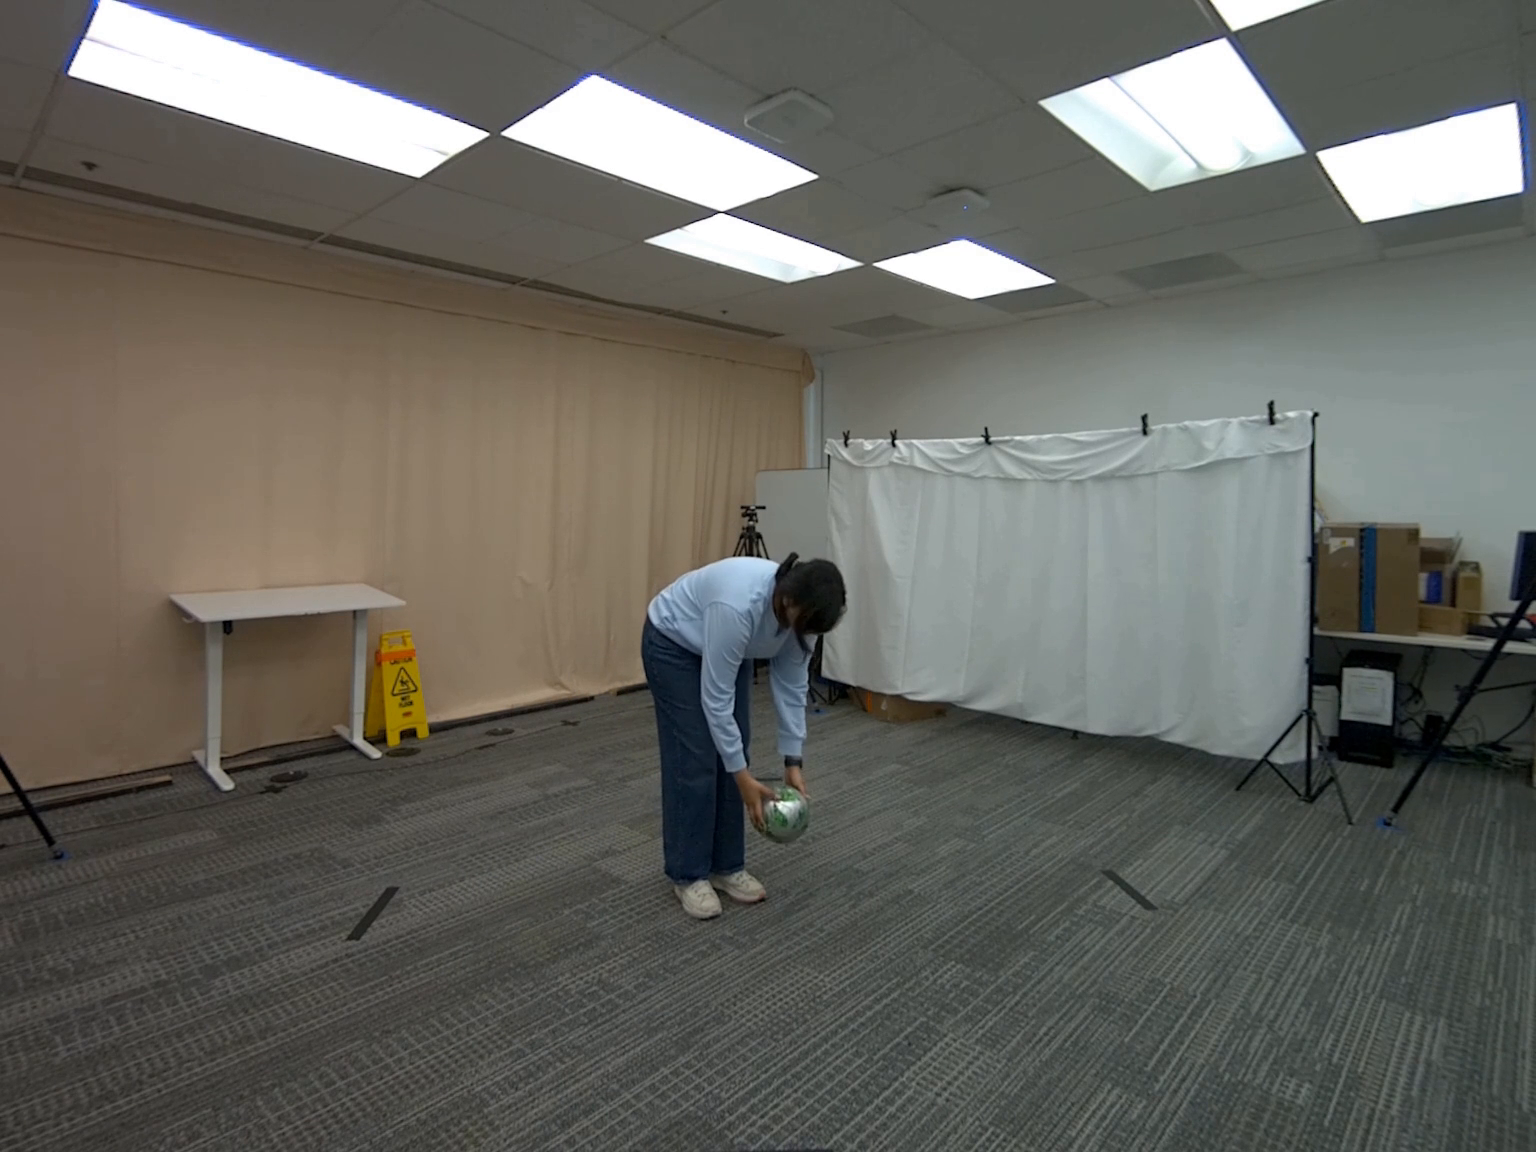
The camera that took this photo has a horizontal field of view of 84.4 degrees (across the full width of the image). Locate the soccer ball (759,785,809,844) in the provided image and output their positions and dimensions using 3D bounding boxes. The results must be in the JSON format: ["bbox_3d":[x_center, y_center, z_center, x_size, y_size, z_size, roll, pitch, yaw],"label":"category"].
[{"bbox_3d":[0.053,0.781,2.784,0.187,0.187,0.188,0,4,-2],"label":"soccer ball"}]
